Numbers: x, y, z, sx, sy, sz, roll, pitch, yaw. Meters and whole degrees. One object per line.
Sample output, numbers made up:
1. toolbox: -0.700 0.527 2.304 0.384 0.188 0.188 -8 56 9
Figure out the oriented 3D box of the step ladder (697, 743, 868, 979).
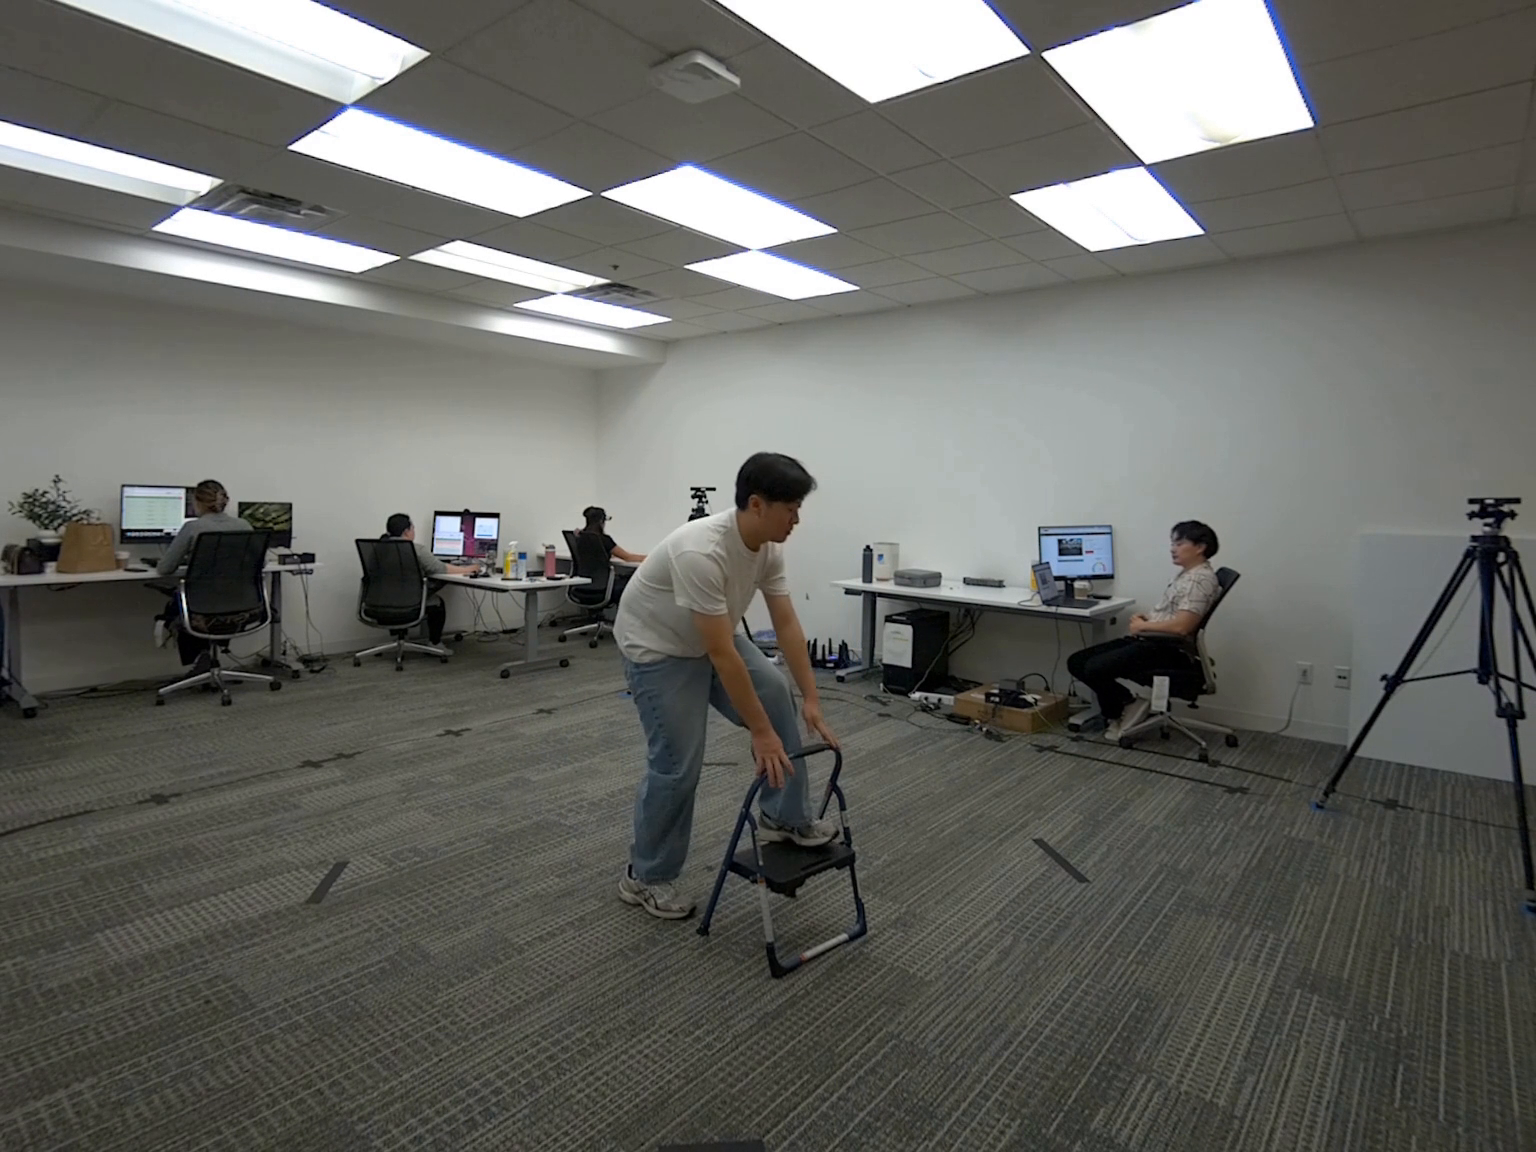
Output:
1. step ladder: 0.049 0.814 2.650 0.417 0.604 0.361 -2 5 -44
